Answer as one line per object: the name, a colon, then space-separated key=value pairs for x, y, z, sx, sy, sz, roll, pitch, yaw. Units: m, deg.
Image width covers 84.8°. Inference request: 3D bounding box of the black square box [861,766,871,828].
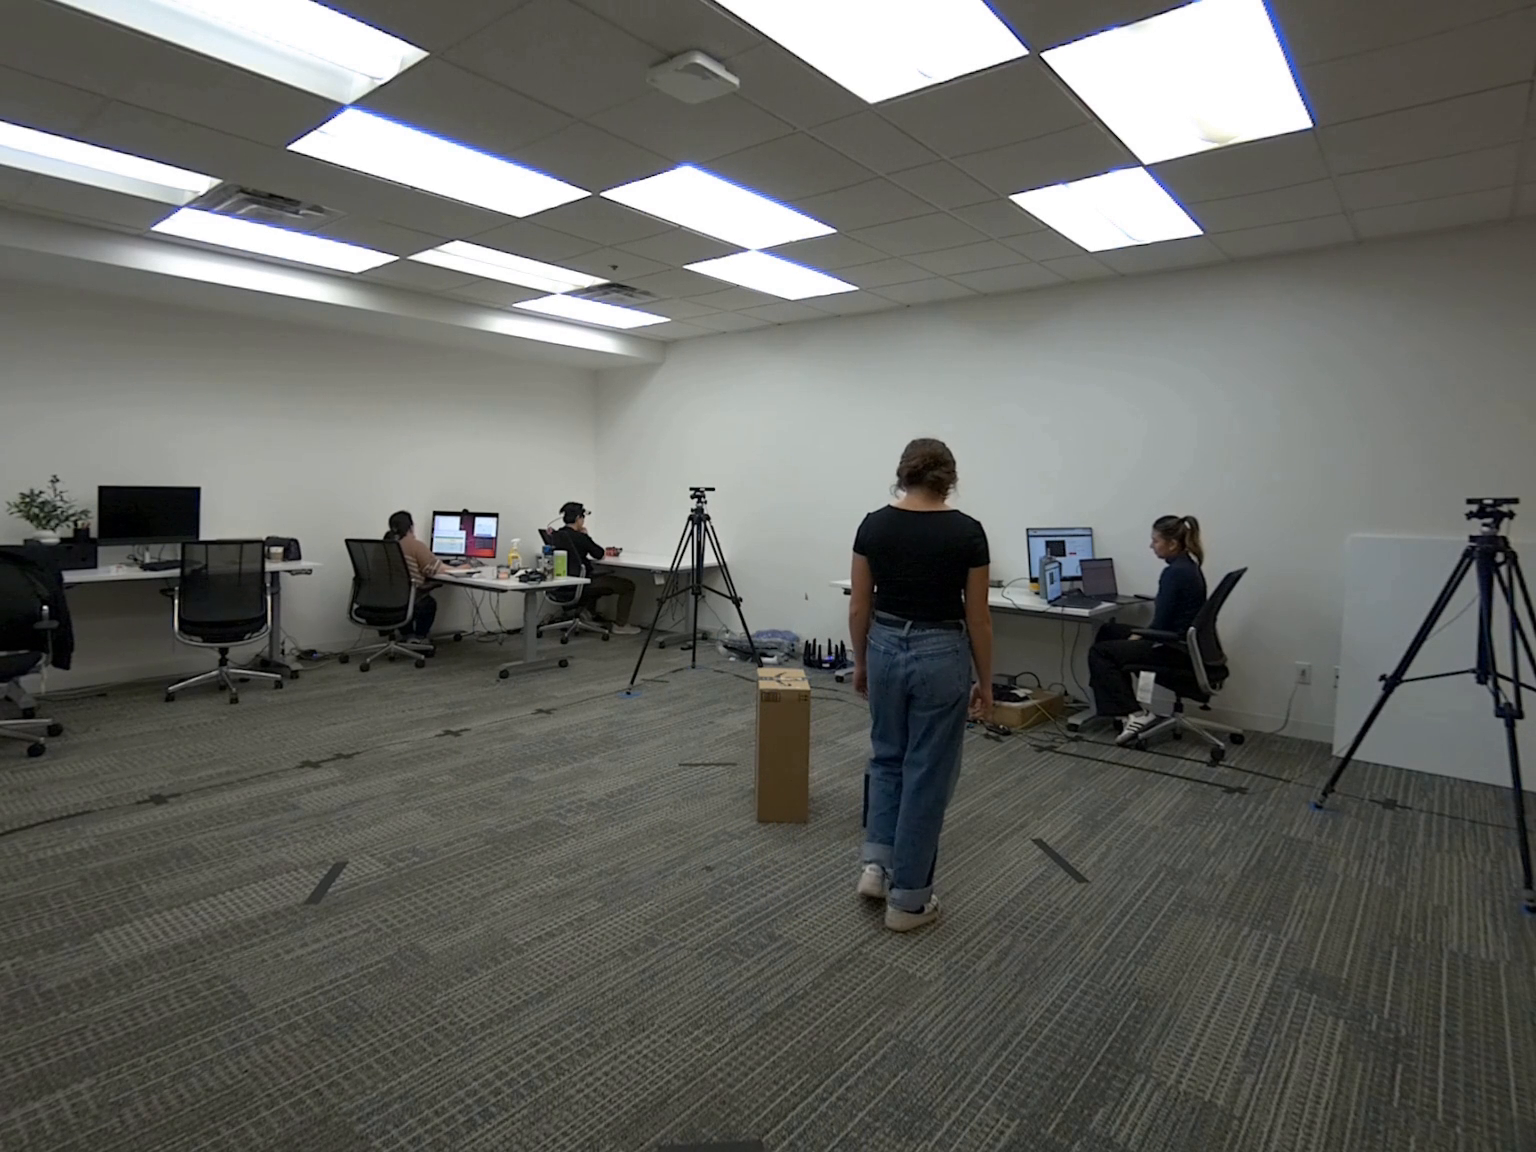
black square box: x=0.508 y=0.910 z=3.572 sx=0.219 sy=0.227 sz=0.155 roll=2 pitch=4 yaw=9
